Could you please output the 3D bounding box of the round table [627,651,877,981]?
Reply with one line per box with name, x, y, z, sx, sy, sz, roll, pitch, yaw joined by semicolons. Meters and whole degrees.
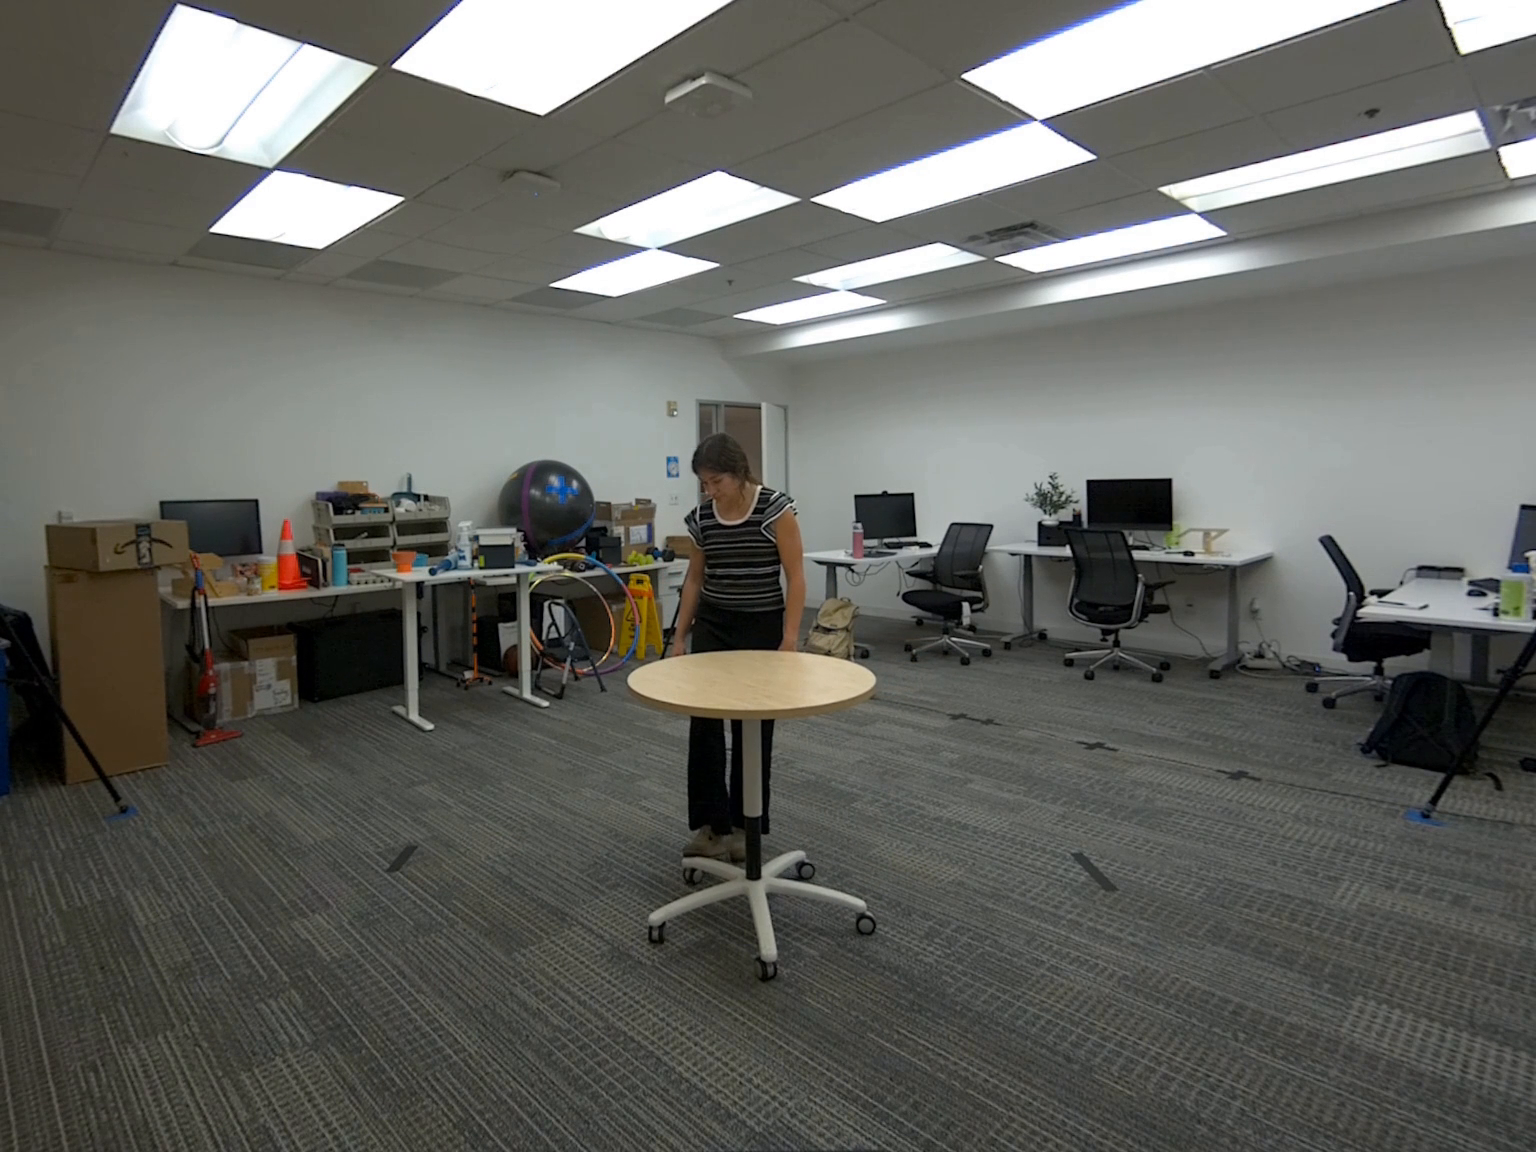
round table;-0.062;0.702;2.678;0.784;0.783;0.789;-1;5;-2
